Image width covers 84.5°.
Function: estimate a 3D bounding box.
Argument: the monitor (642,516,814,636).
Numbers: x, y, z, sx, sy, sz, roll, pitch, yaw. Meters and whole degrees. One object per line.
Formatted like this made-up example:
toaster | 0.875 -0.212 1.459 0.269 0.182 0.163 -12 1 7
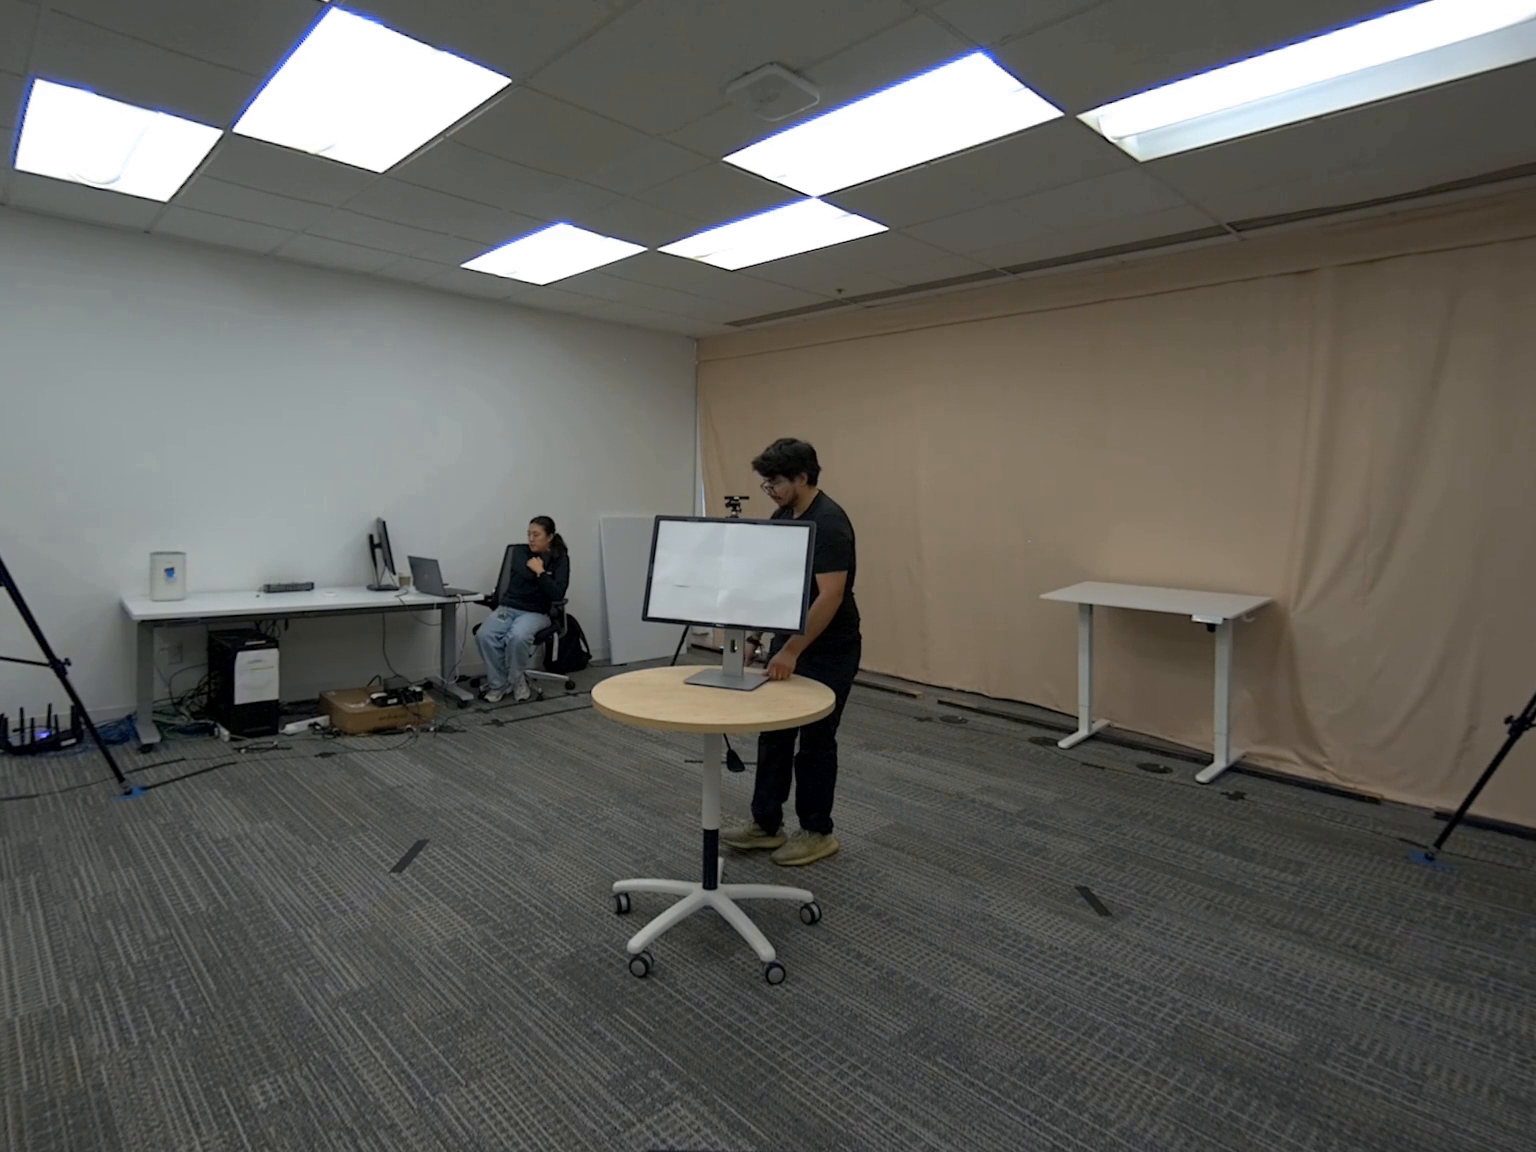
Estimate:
monitor | -0.121 0.084 2.806 0.574 0.555 0.206 3 -3 20
